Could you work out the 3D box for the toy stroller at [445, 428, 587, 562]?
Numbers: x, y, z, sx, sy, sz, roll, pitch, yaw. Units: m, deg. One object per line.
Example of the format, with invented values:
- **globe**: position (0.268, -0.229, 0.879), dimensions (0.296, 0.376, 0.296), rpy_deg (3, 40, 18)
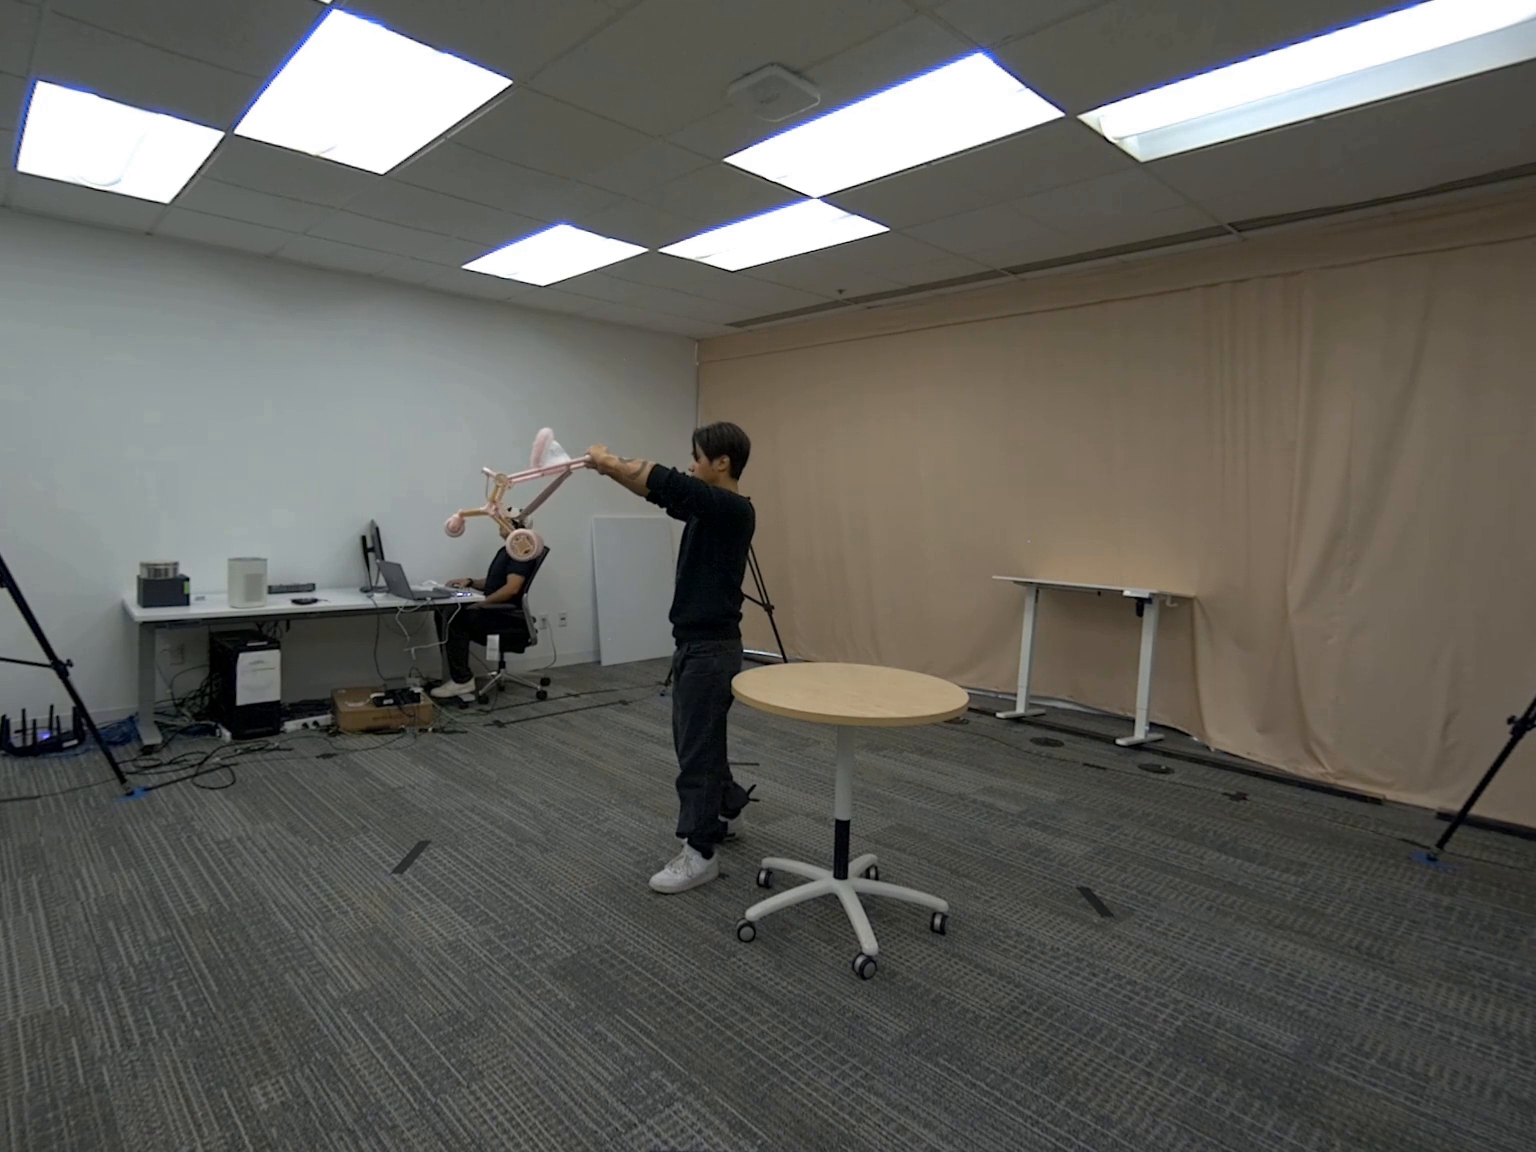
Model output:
- **toy stroller**: position (-0.863, -0.297, 2.978), dimensions (0.339, 0.535, 0.283), rpy_deg (34, -2, -6)
